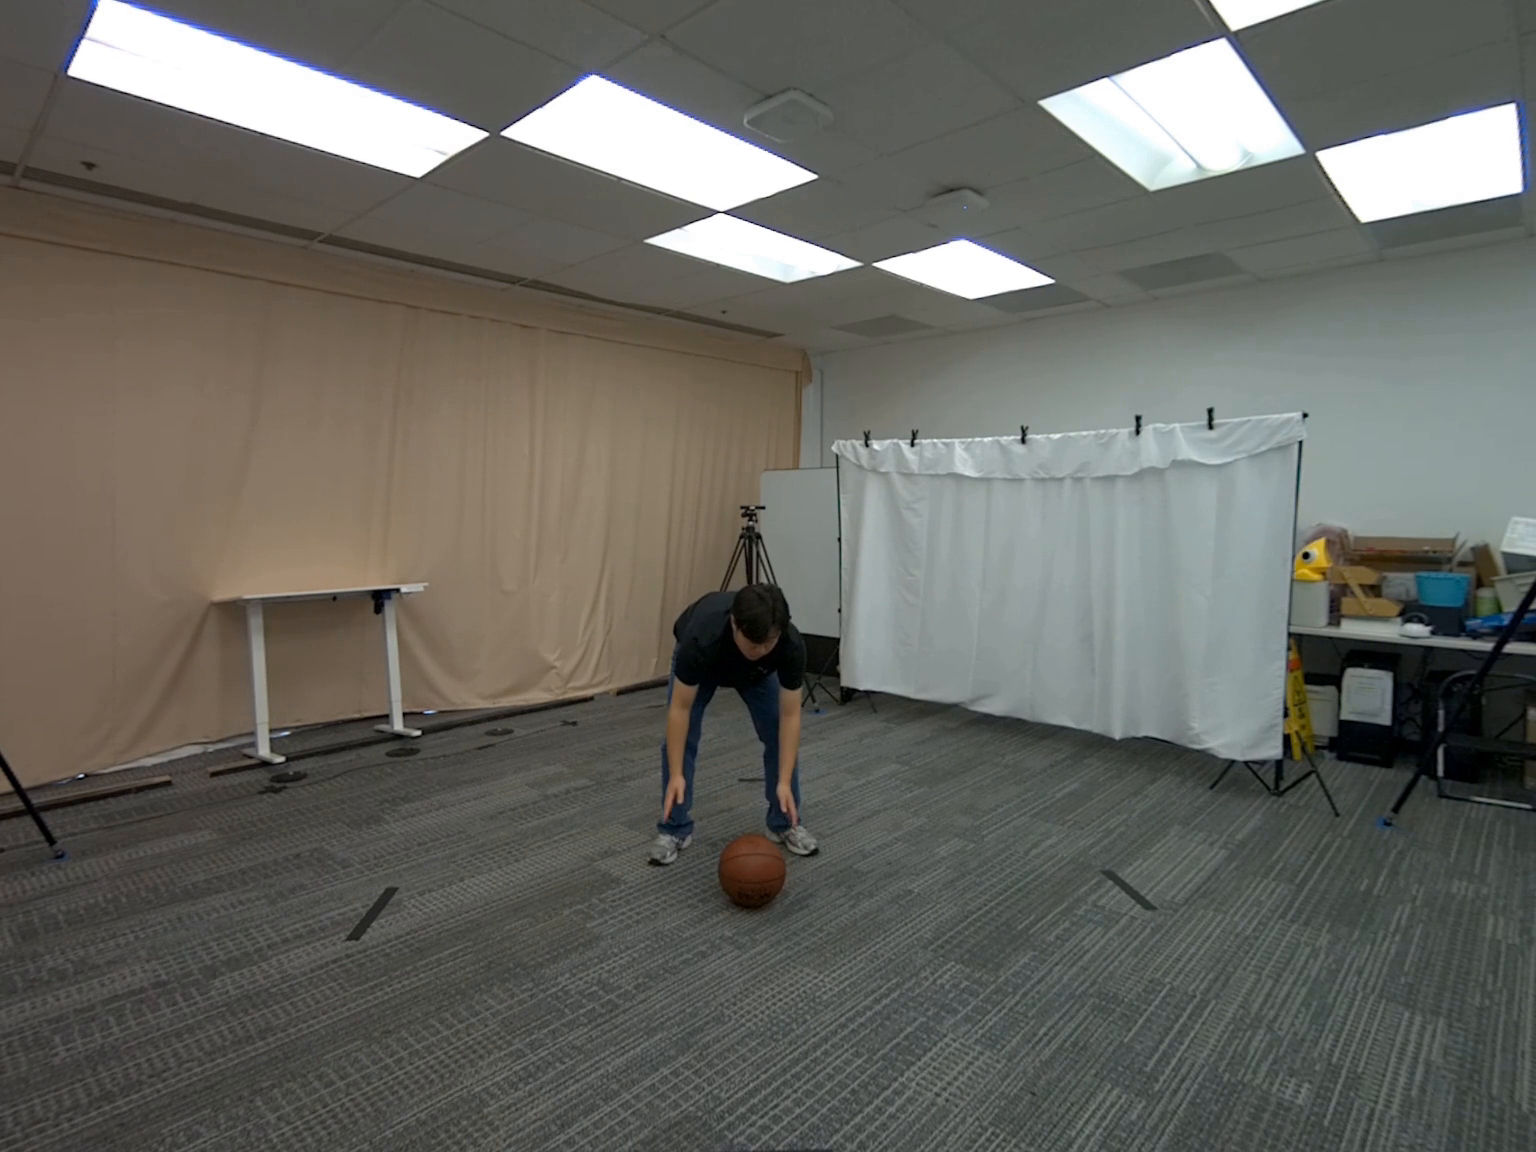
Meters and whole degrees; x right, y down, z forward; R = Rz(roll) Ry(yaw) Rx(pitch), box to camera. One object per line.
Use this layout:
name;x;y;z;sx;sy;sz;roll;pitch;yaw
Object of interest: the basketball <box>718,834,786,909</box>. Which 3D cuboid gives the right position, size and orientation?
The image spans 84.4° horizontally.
basketball;-0.053;1.023;2.945;0.236;0.235;0.237;0;4;-2
